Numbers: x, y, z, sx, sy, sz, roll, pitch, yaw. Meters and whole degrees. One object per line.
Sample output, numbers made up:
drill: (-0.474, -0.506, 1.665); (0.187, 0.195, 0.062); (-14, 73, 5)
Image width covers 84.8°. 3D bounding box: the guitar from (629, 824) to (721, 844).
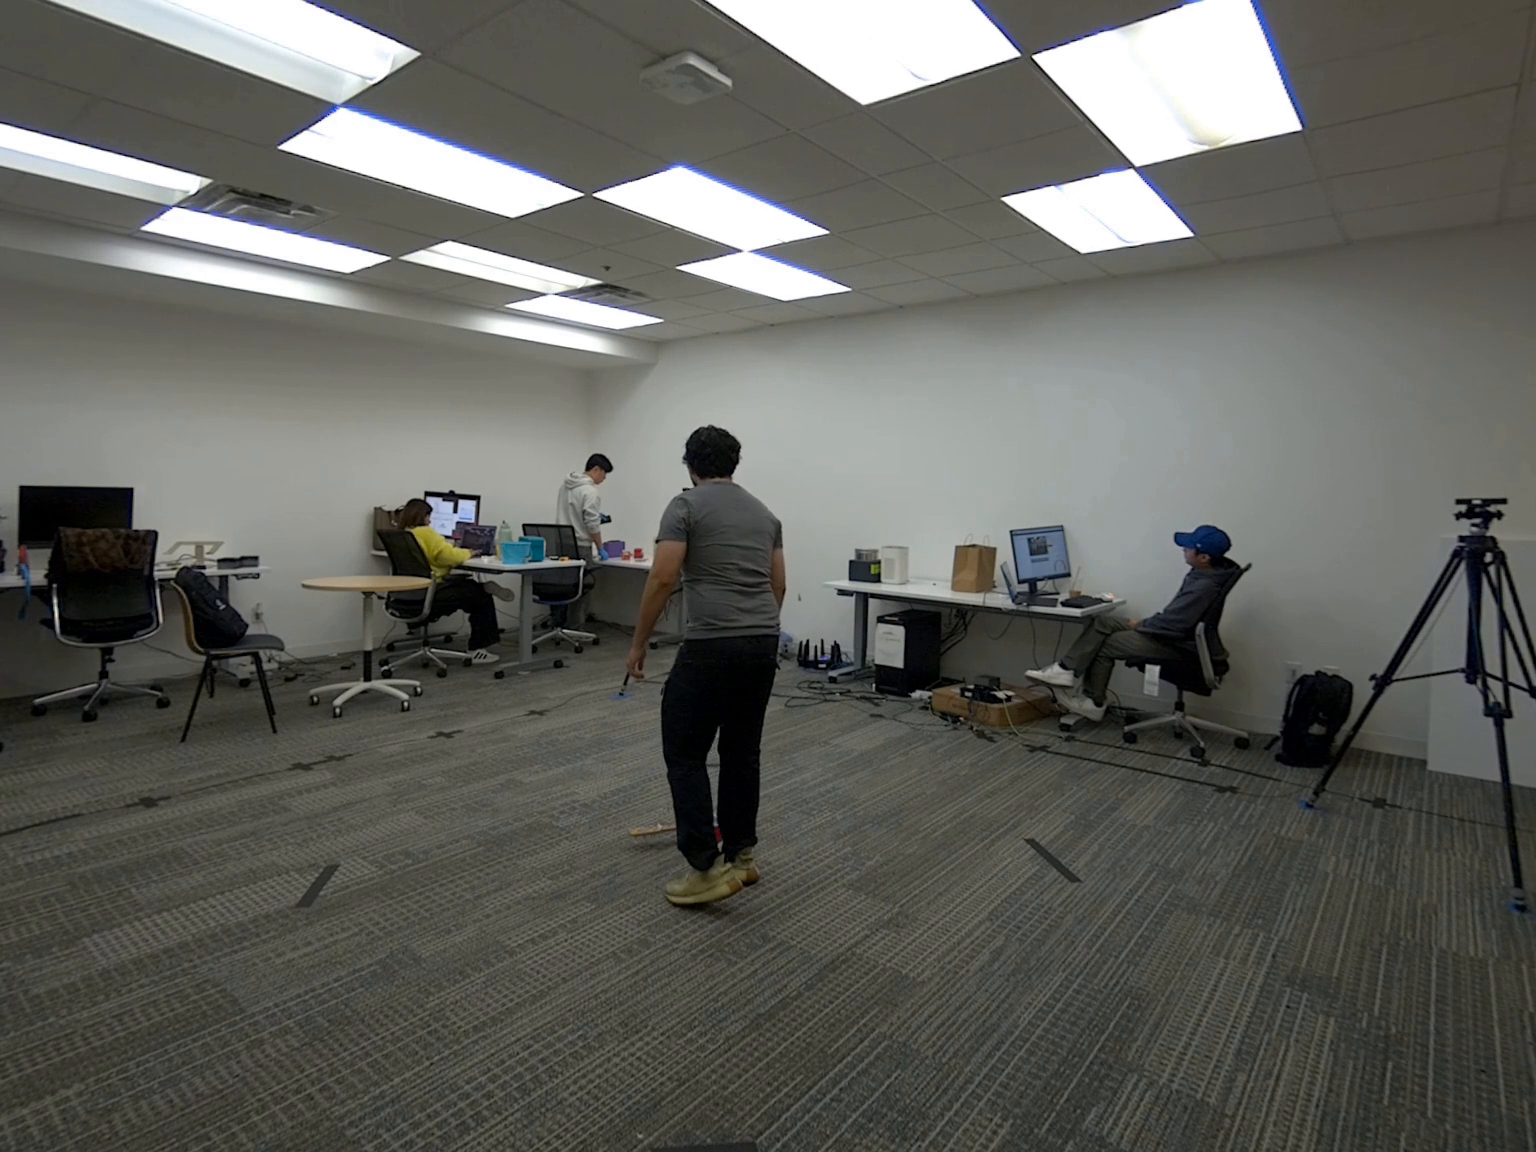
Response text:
guitar: (-0.334, 1.000, 3.402); (0.490, 0.070, 0.197); (0, 6, -15)
